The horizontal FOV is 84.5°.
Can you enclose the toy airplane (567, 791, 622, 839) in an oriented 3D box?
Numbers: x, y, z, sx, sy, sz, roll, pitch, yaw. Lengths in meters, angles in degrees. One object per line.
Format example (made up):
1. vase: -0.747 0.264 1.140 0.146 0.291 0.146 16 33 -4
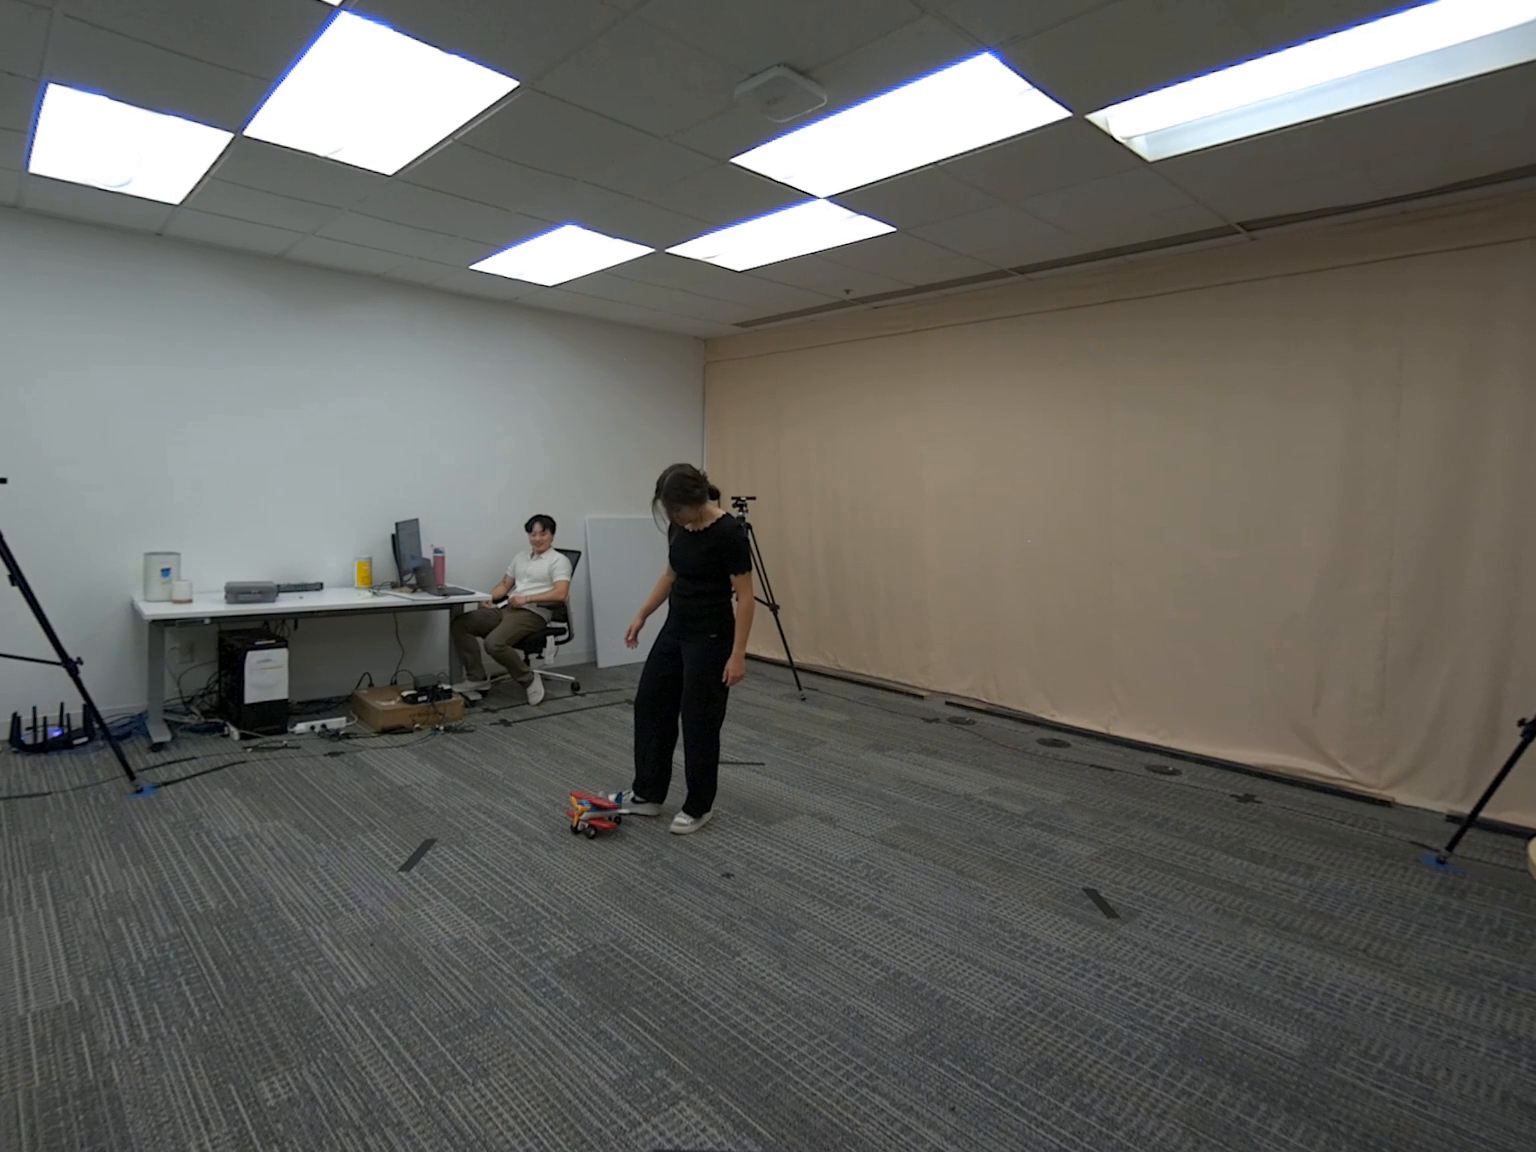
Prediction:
1. toy airplane: -0.728 0.982 3.505 0.253 0.156 0.259 2 6 7
